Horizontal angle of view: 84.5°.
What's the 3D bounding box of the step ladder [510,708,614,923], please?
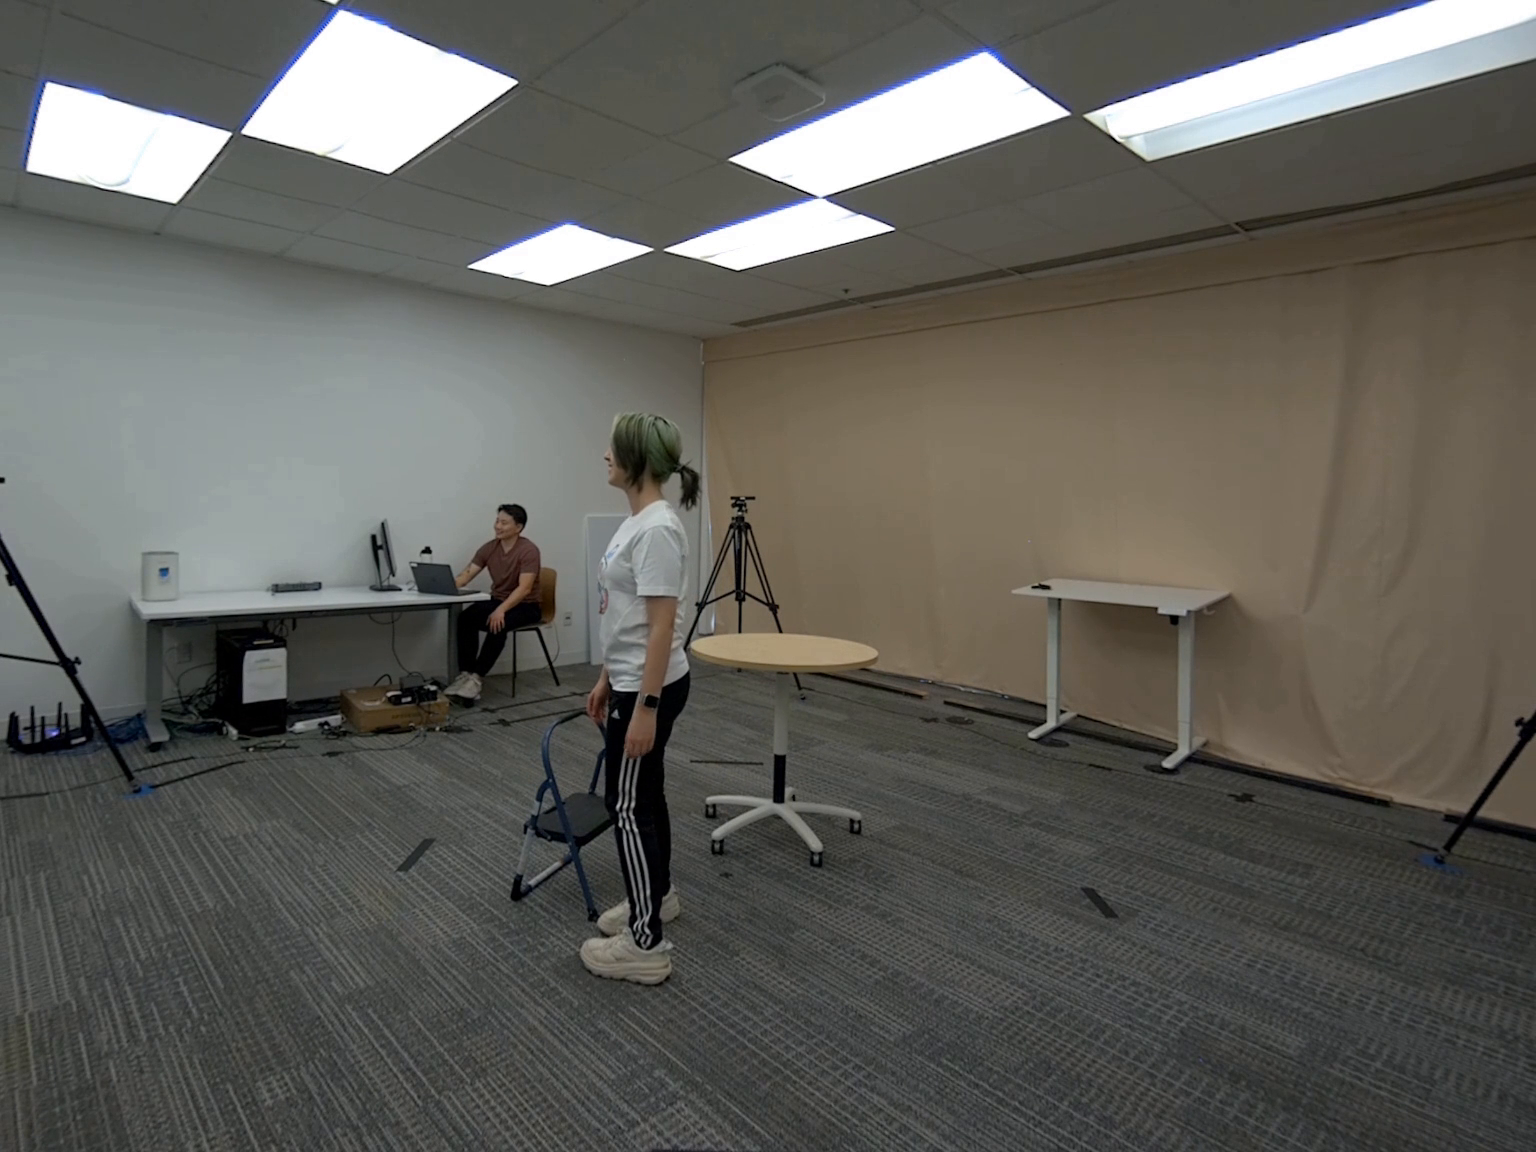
[{"bbox_3d":[-0.649,0.801,2.985,0.355,0.604,0.425,3,4,19],"label":"step ladder"}]
